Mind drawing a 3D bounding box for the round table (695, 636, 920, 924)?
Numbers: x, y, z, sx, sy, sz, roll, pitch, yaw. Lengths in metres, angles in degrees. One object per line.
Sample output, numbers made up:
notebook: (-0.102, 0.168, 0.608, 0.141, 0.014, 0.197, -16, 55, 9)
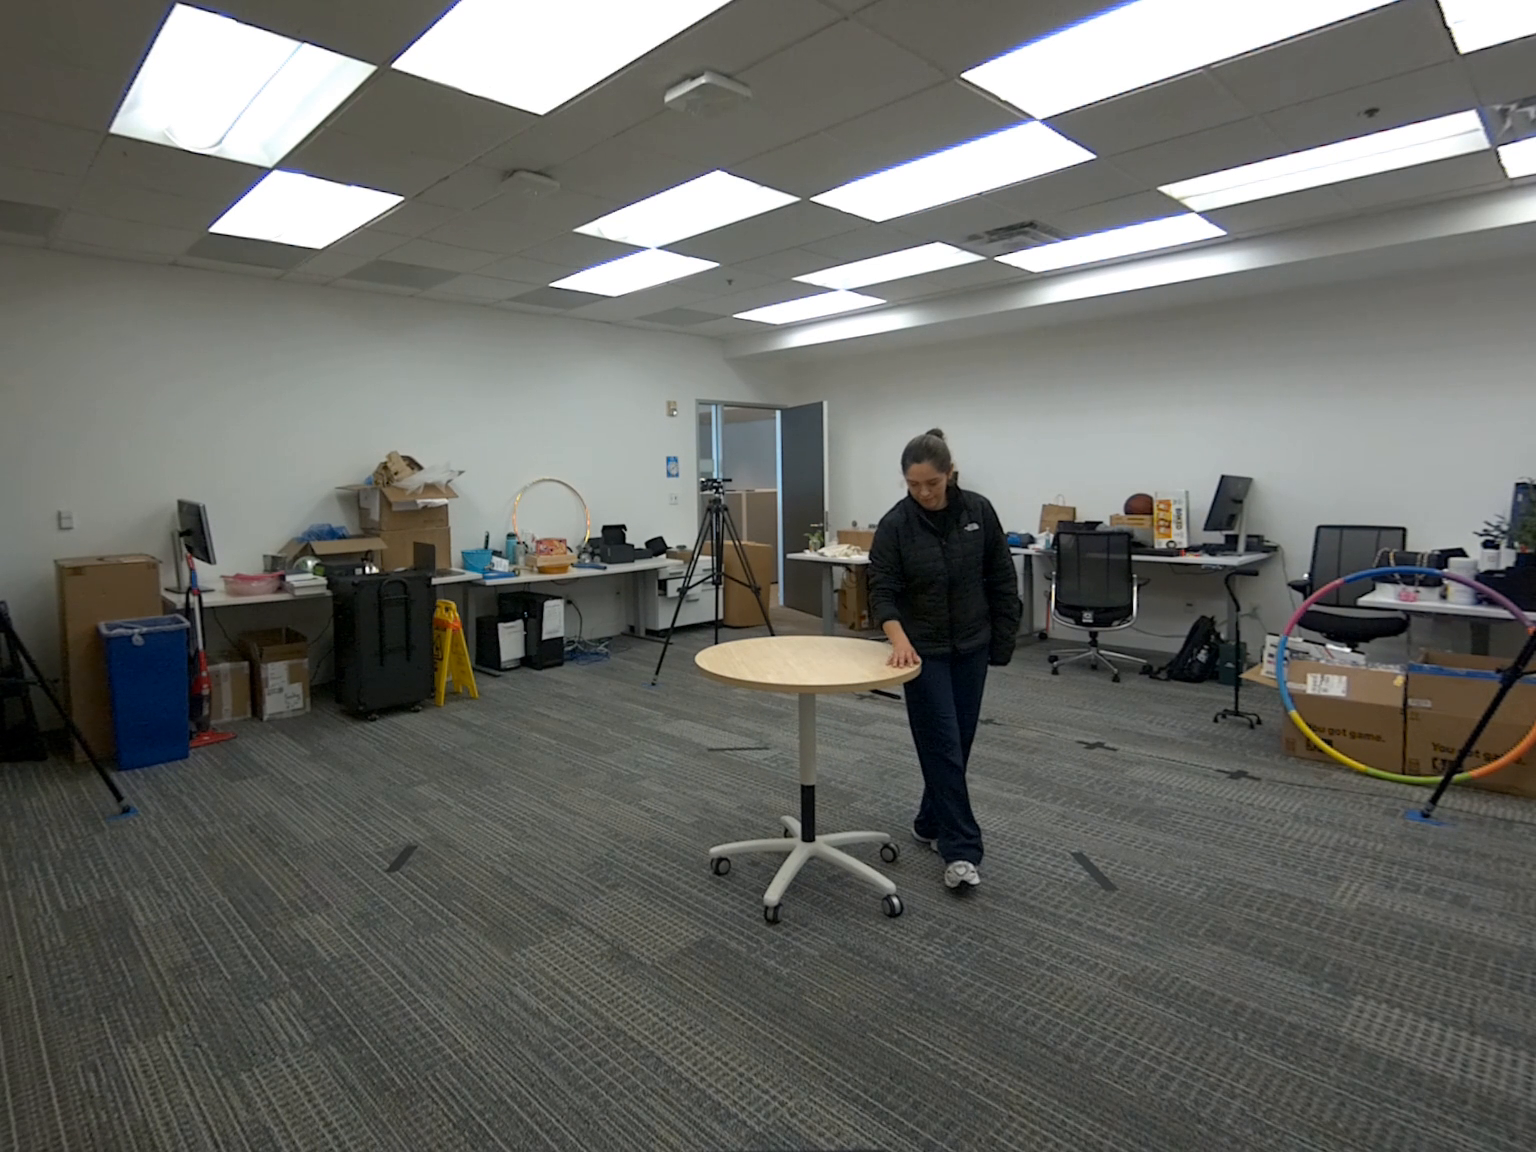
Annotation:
round table: (0.128, 0.665, 2.953, 0.784, 0.783, 0.789, -1, 5, -2)
